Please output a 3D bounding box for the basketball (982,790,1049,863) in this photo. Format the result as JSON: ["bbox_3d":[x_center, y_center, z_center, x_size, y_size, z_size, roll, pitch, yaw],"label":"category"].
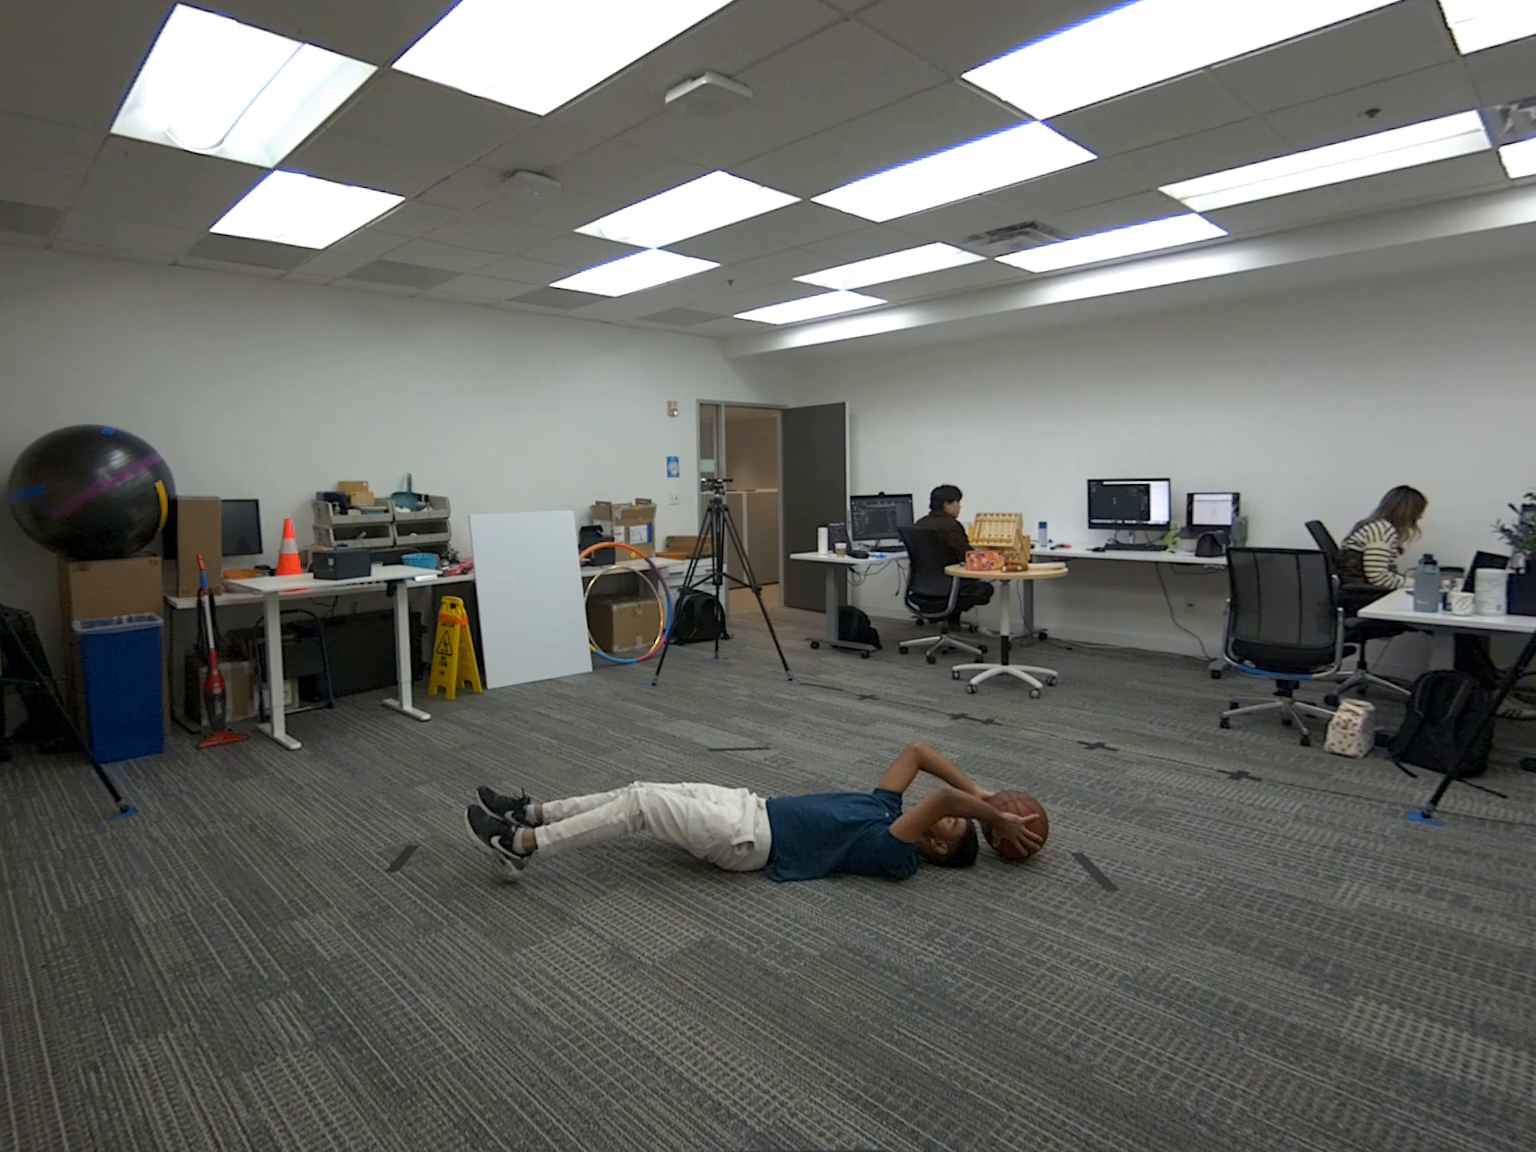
[{"bbox_3d":[0.905,0.899,3.128,0.236,0.235,0.237,-1,5,-2],"label":"basketball"}]
